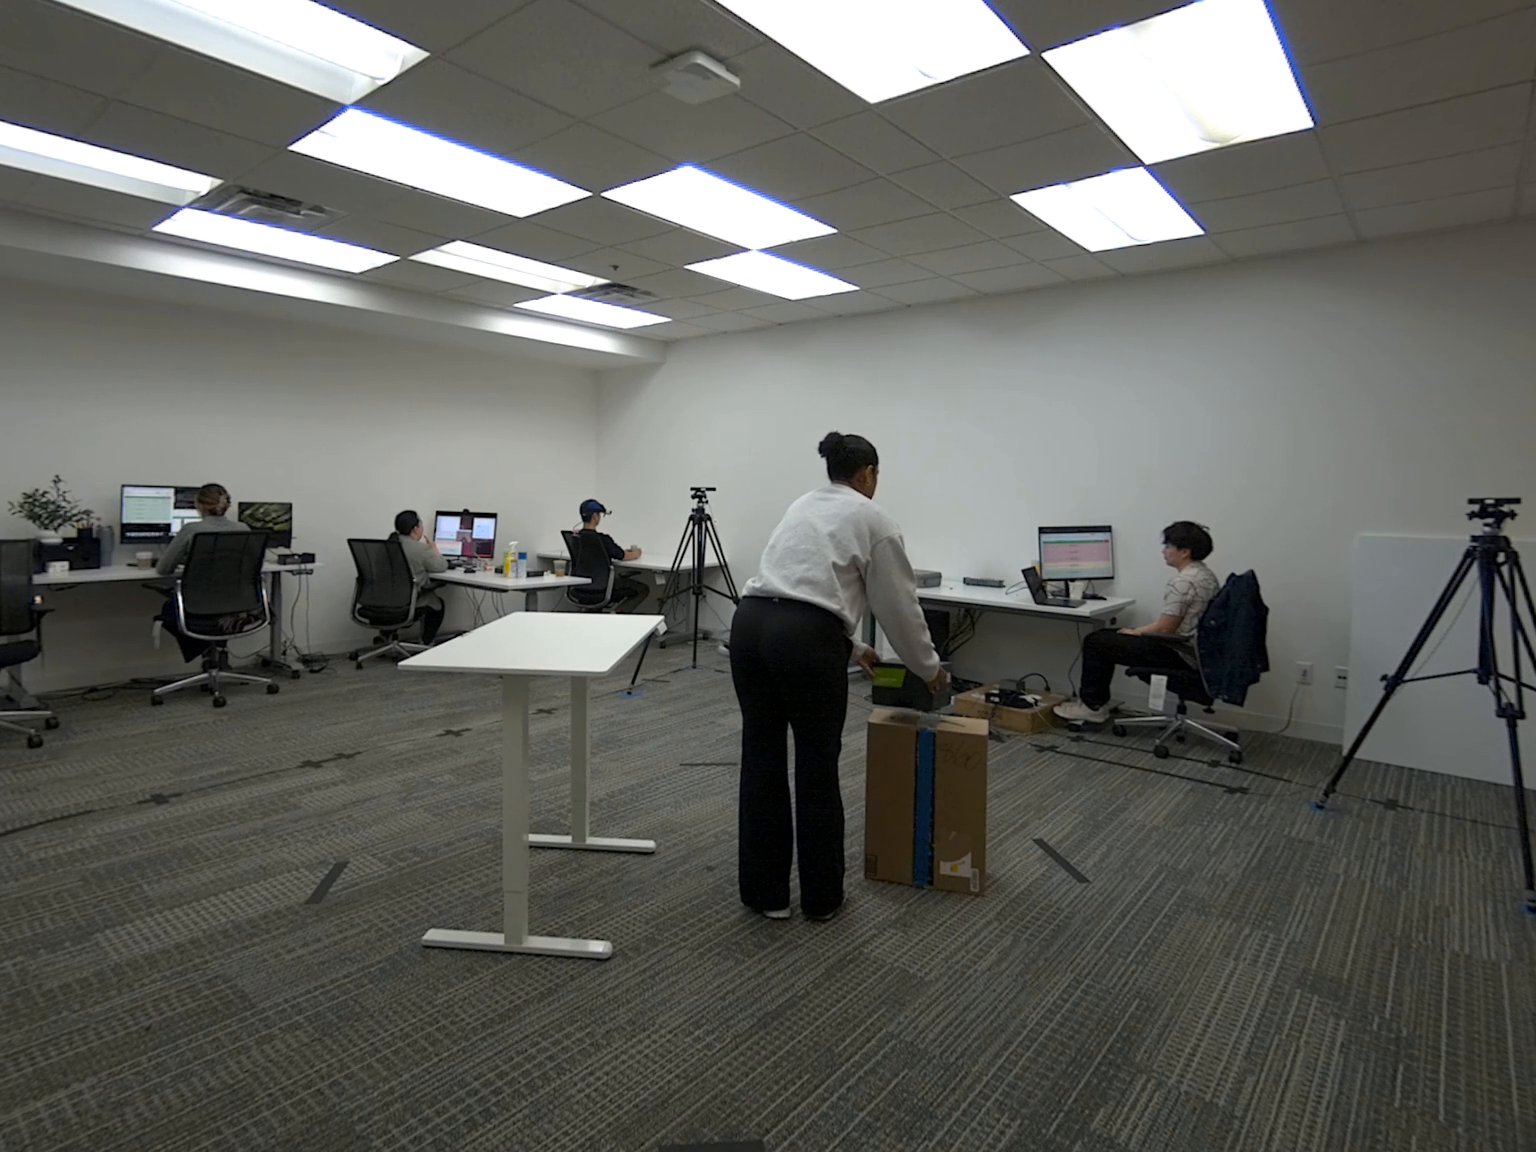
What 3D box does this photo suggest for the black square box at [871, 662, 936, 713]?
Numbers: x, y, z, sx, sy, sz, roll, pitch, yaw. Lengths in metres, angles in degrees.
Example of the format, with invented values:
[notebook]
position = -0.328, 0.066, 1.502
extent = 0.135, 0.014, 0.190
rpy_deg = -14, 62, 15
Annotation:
[black square box]
position = 0.515, 0.386, 3.108
extent = 0.234, 0.156, 0.210
rpy_deg = 1, -1, 31
